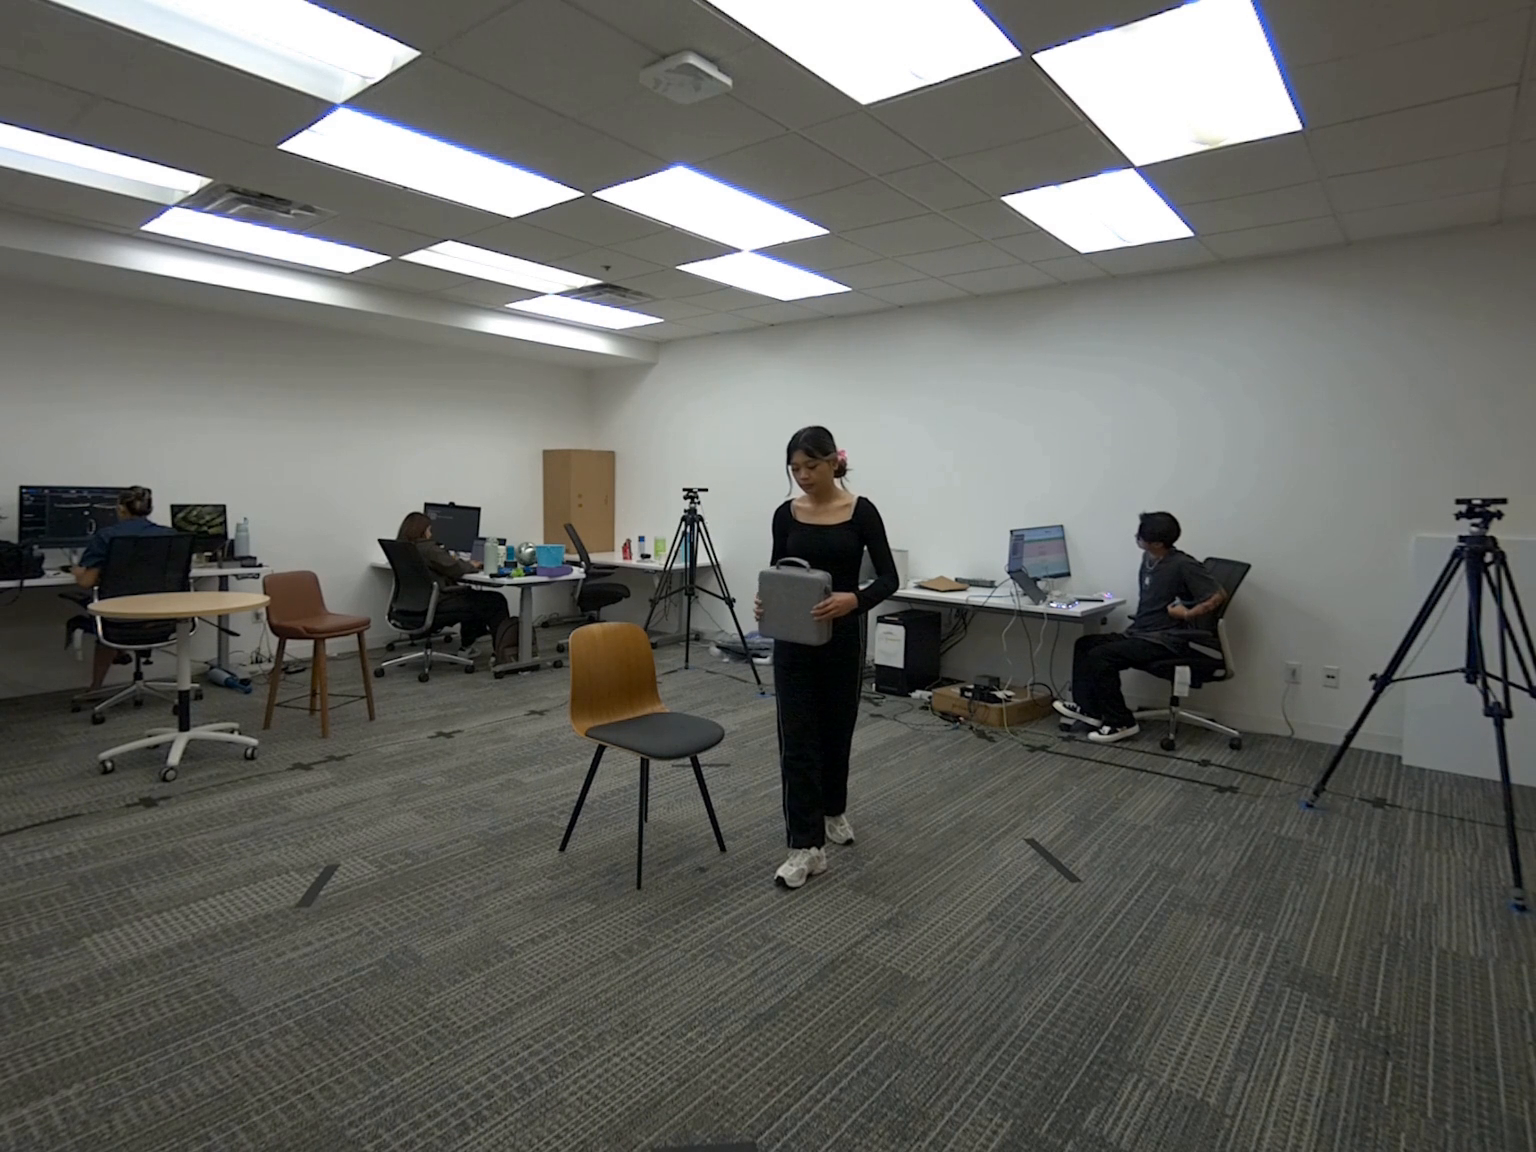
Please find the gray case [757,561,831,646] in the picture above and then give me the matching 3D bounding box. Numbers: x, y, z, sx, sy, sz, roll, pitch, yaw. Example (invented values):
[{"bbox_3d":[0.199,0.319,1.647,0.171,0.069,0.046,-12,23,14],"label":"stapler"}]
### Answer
[{"bbox_3d":[0.098,0.091,2.964,0.265,0.258,0.102,7,10,35],"label":"gray case"}]
